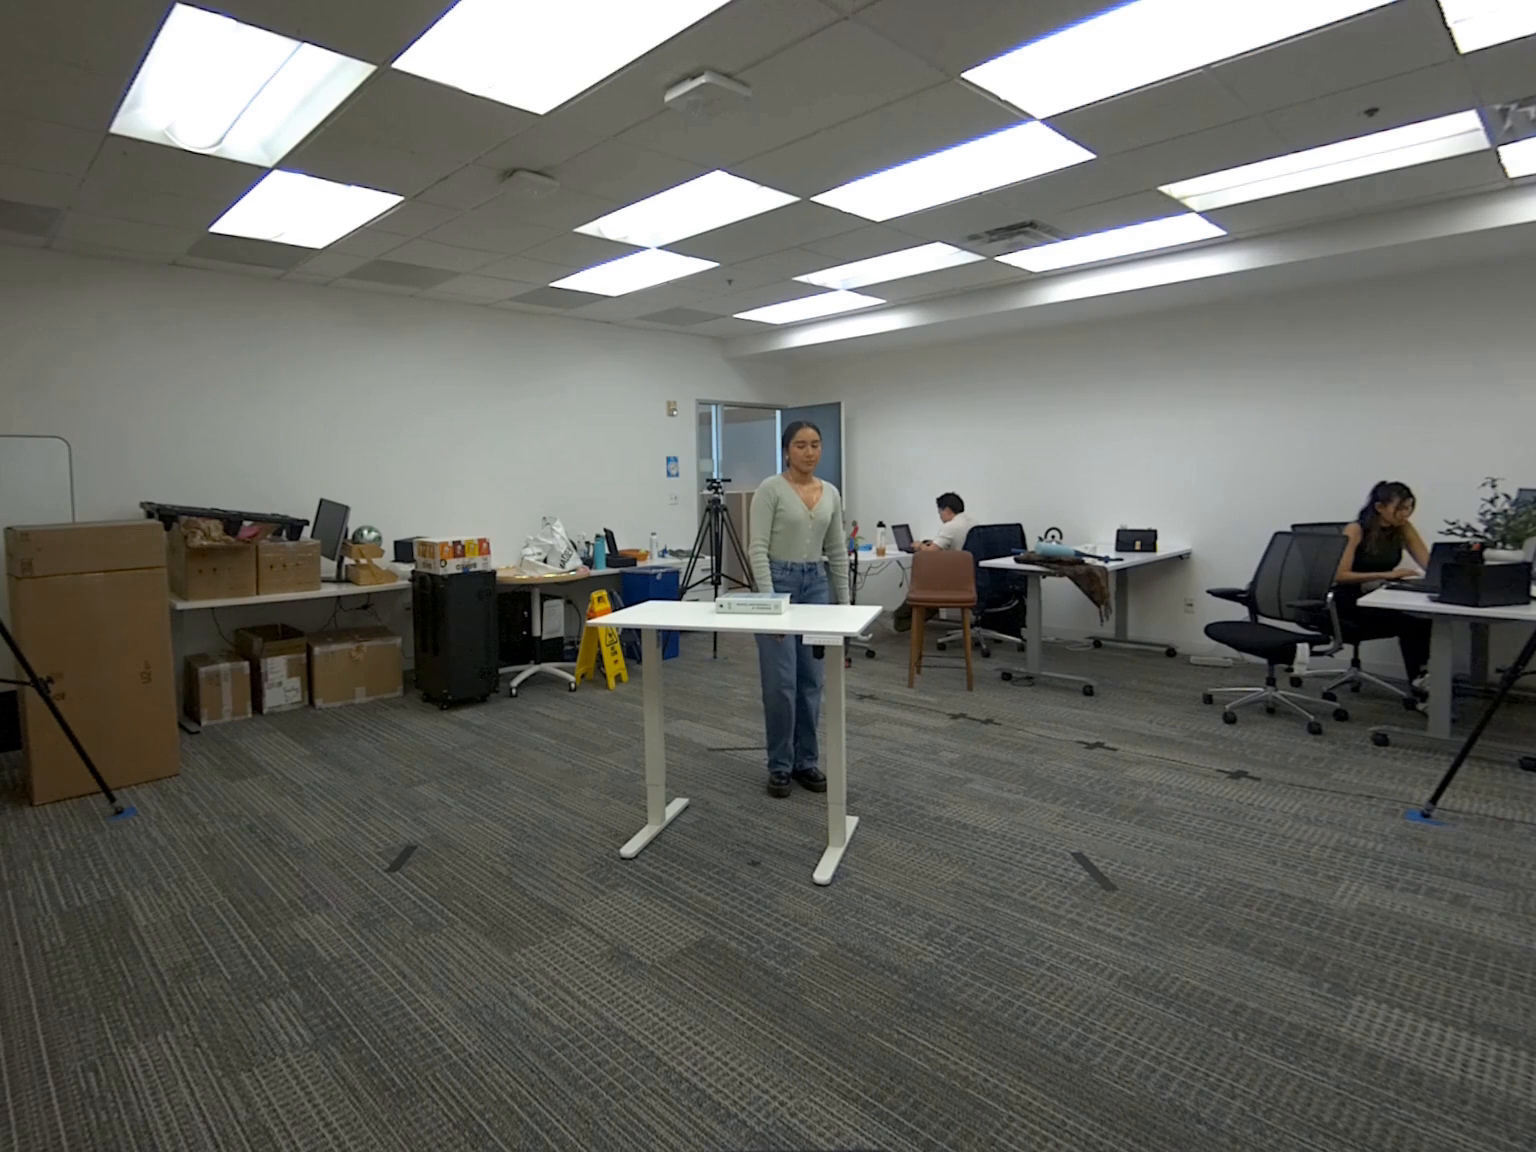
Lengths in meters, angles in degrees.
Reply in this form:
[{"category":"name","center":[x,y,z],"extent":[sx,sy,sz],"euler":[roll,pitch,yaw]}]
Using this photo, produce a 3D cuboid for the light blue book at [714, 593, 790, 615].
[{"category":"light blue book","center":[-0.052,0.109,3.349],"extent":[0.265,0.059,0.189],"euler":[0,5,14]}]
